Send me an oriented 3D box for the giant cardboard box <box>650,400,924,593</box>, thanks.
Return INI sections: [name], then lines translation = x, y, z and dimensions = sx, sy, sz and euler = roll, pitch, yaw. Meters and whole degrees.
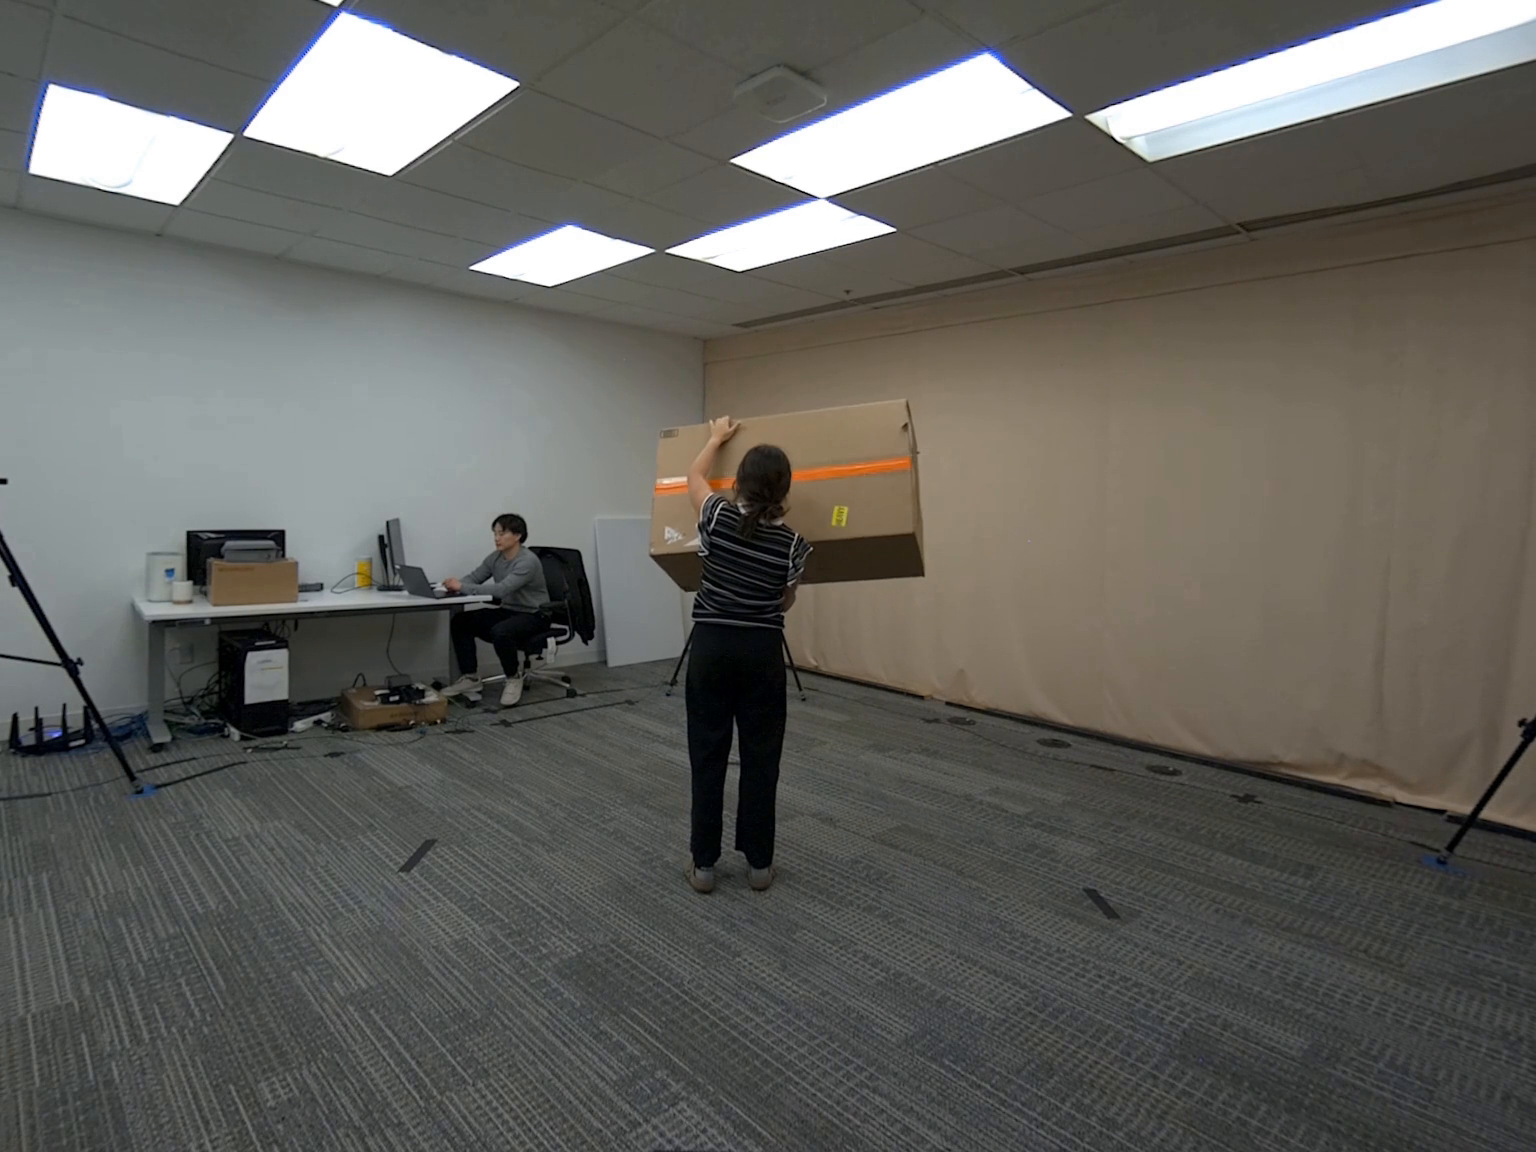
[giant cardboard box]
translation = 0.080, -0.311, 3.425
dimensions = 1.038, 0.586, 0.415
euler = -4, -23, 16
